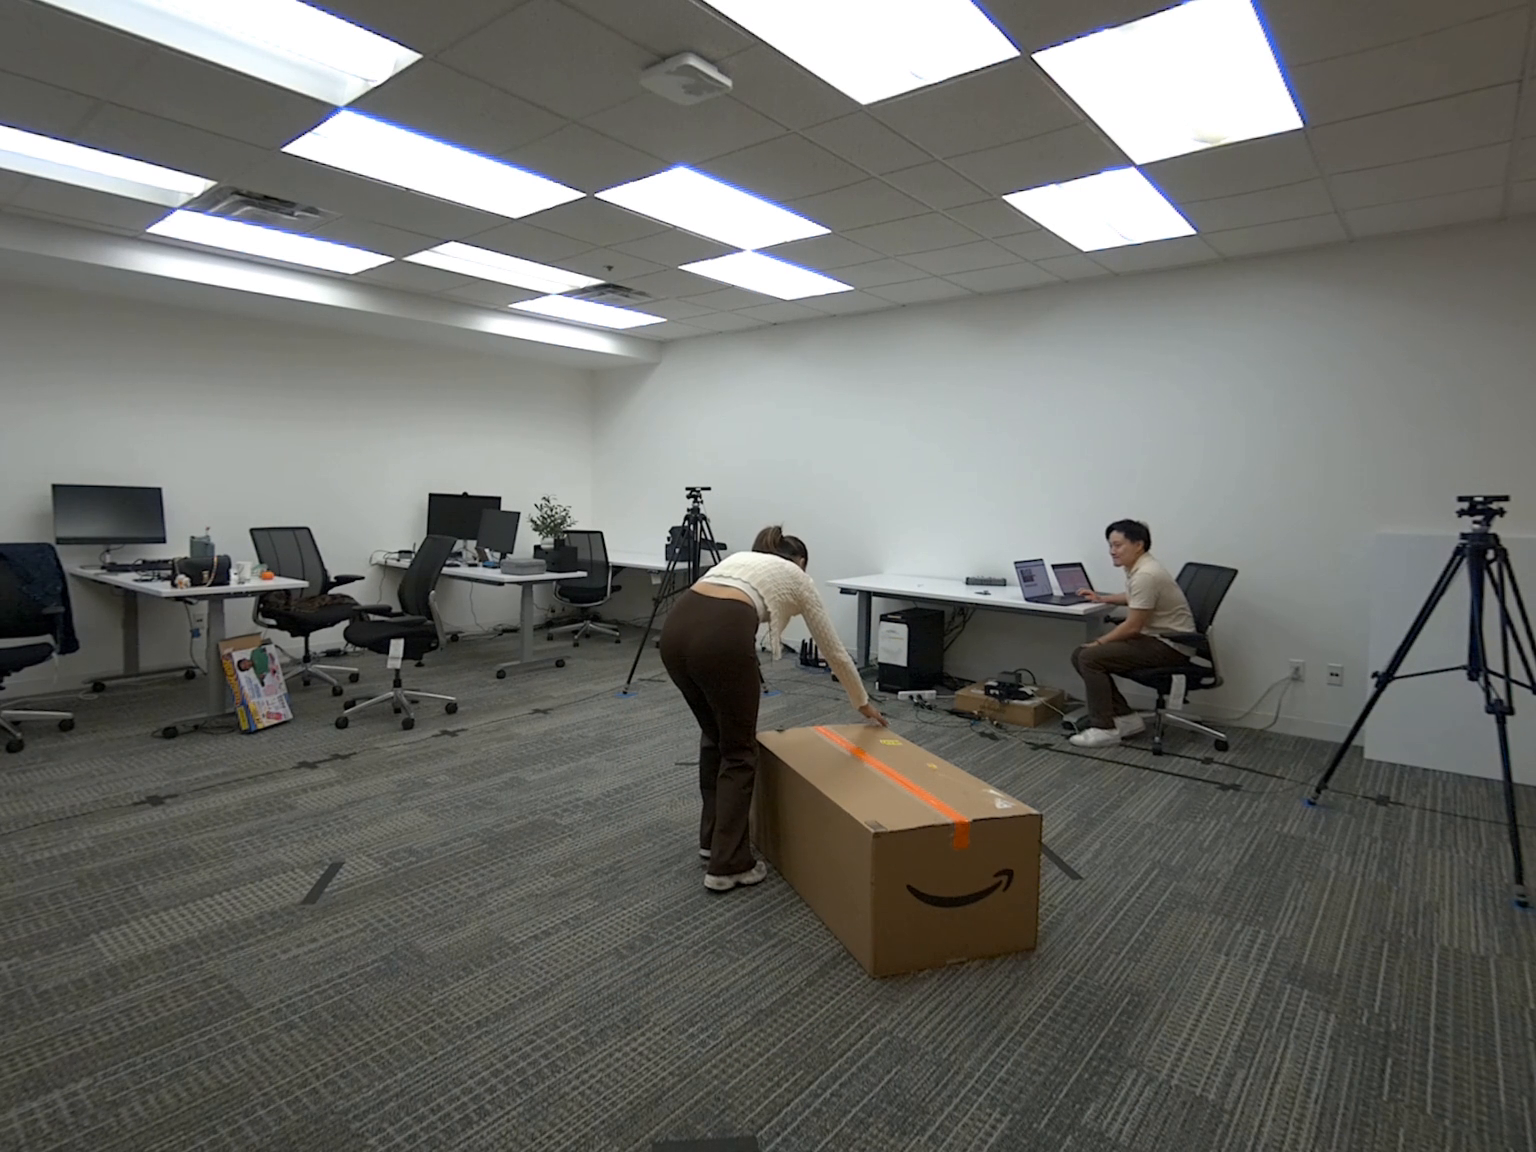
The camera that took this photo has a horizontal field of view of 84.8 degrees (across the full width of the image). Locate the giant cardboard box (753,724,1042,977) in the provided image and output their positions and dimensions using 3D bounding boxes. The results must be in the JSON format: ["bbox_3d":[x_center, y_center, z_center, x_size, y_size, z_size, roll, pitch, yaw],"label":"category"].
[{"bbox_3d":[0.371,0.872,2.977,0.566,0.425,1.050,0,5,-21],"label":"giant cardboard box"}]
